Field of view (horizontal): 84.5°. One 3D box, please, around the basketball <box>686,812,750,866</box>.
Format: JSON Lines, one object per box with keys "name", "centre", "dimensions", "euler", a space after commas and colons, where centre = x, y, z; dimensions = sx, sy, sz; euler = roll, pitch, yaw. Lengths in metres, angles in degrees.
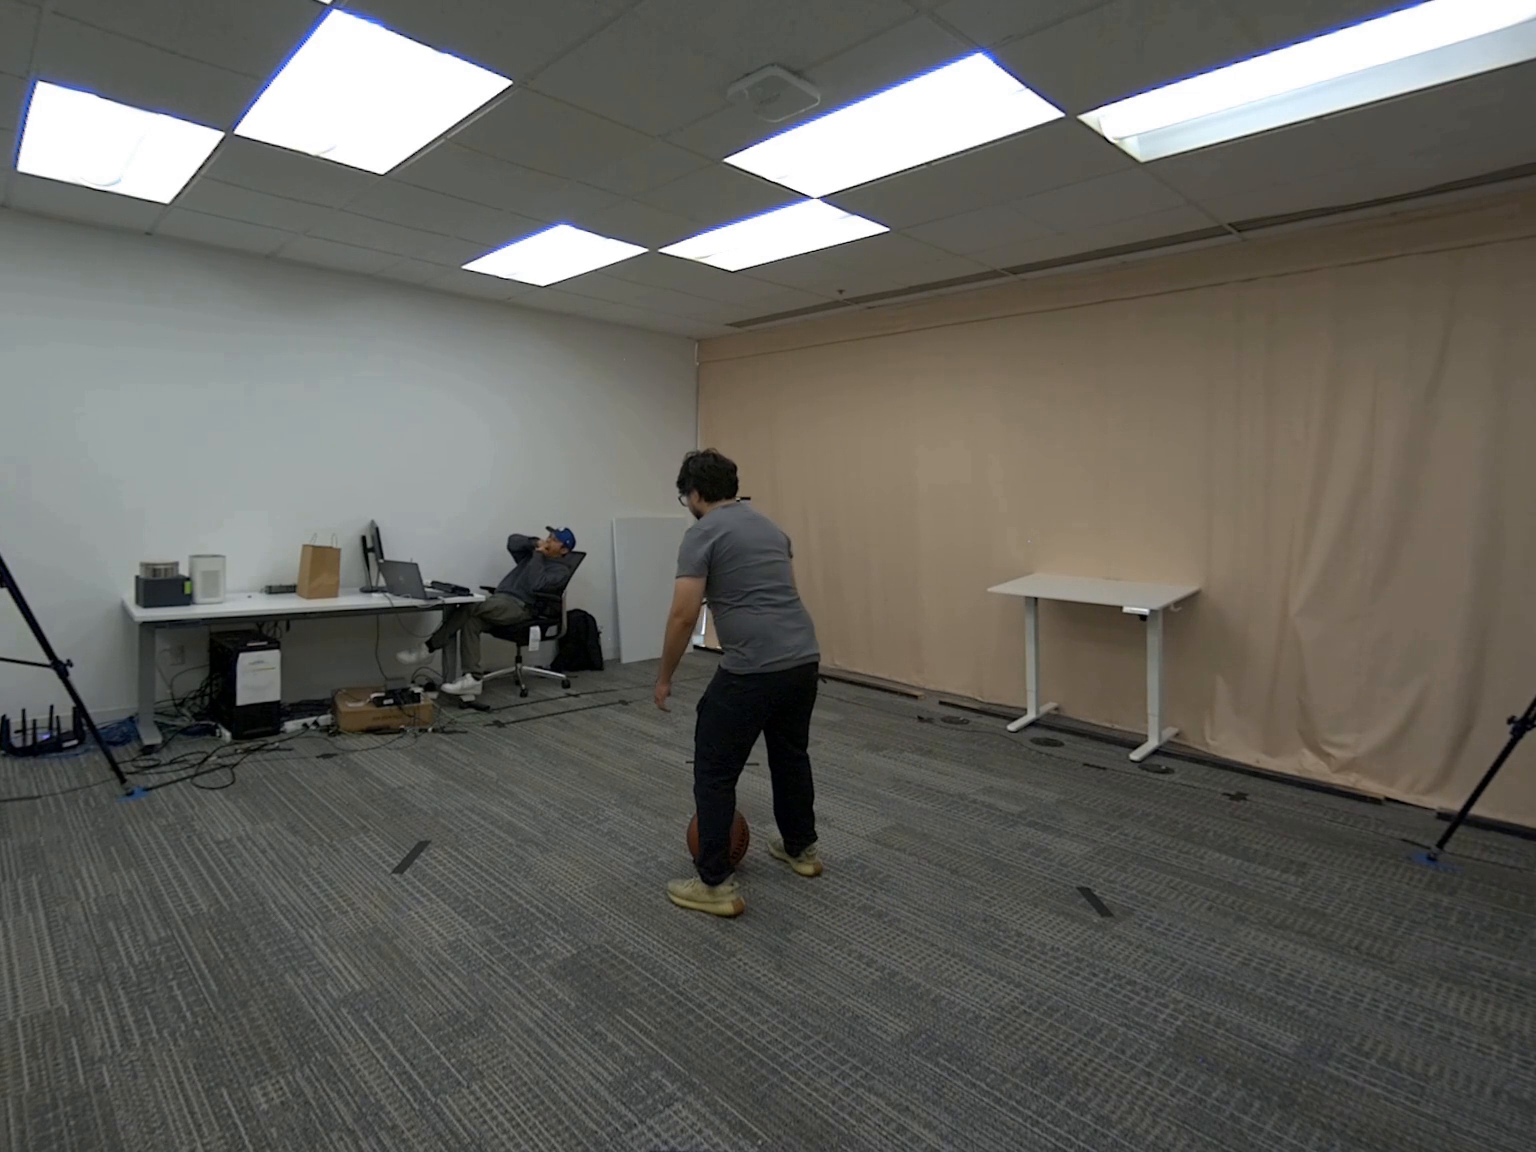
{"name": "basketball", "centre": [-0.194, 0.981, 3.166], "dimensions": [0.236, 0.235, 0.237], "euler": [1, 4, -1]}
